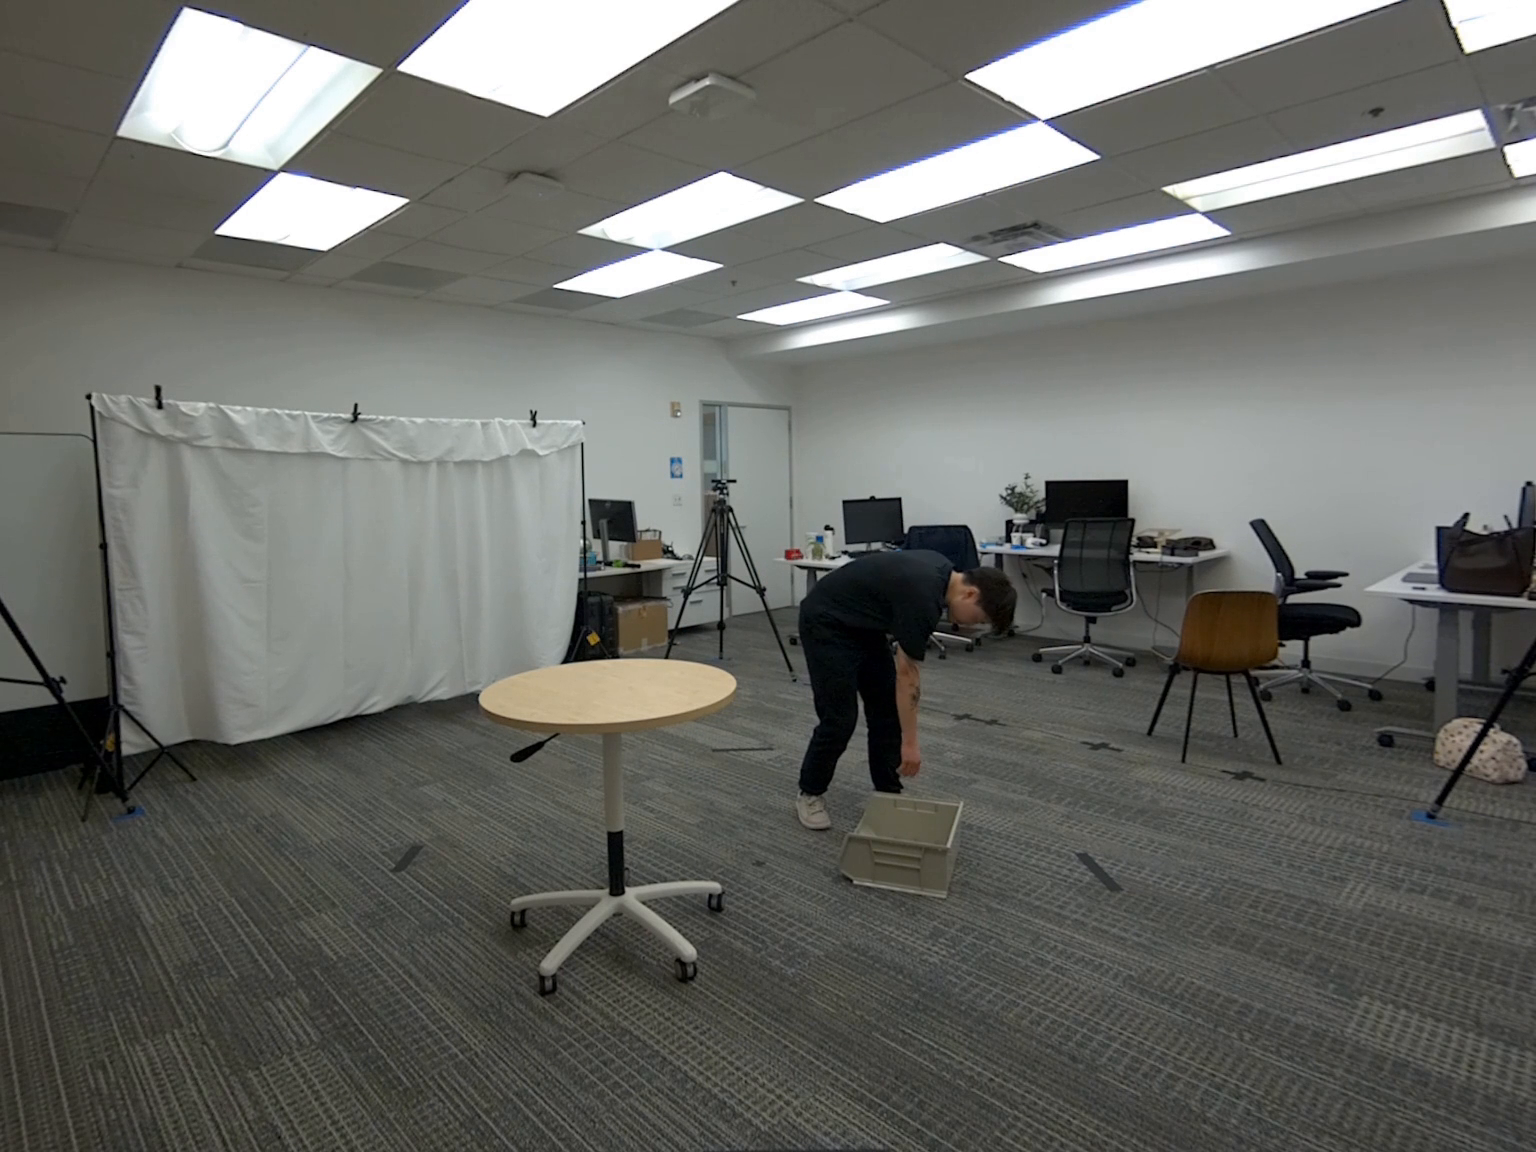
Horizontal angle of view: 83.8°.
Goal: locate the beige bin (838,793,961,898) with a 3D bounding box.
[{"bbox_3d":[0.490,0.957,3.068,0.384,0.188,0.416,2,6,19],"label":"beige bin"}]
